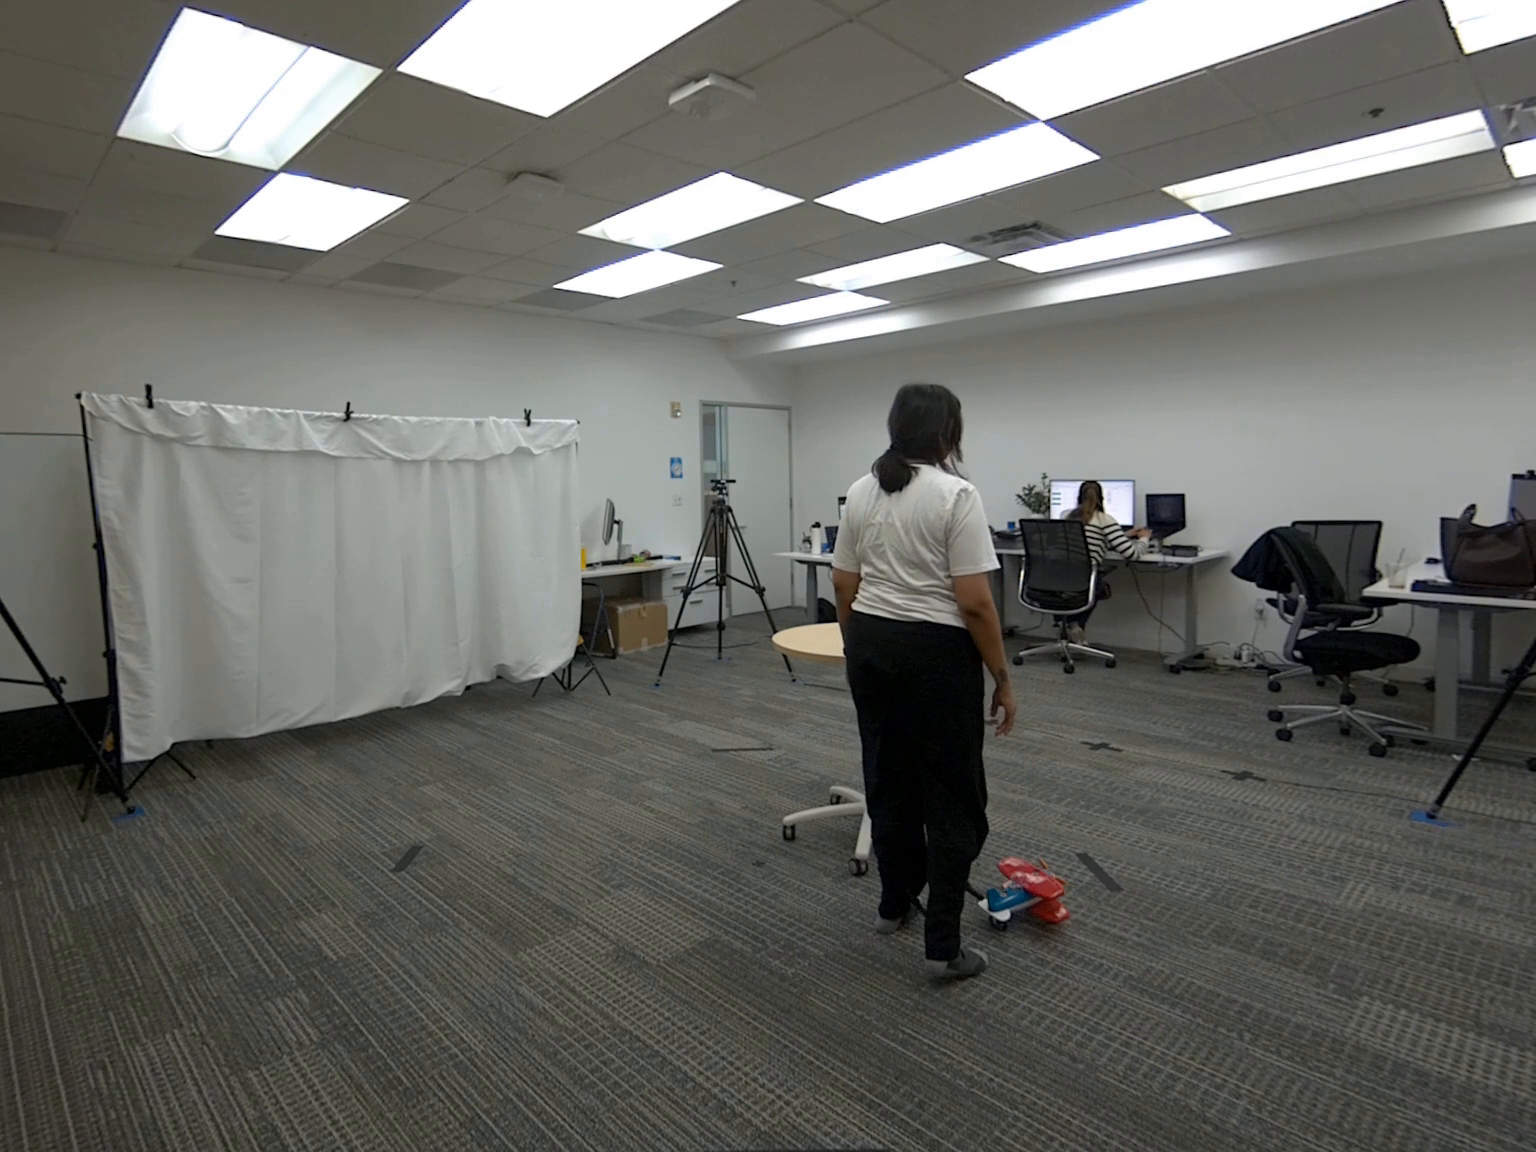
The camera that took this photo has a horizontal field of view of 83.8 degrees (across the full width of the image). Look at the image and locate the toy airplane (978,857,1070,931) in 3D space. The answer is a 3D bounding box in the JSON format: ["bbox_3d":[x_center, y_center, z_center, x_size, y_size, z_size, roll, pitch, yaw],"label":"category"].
[{"bbox_3d":[0.814,1.011,2.651,0.259,0.156,0.252,4,7,40],"label":"toy airplane"}]
